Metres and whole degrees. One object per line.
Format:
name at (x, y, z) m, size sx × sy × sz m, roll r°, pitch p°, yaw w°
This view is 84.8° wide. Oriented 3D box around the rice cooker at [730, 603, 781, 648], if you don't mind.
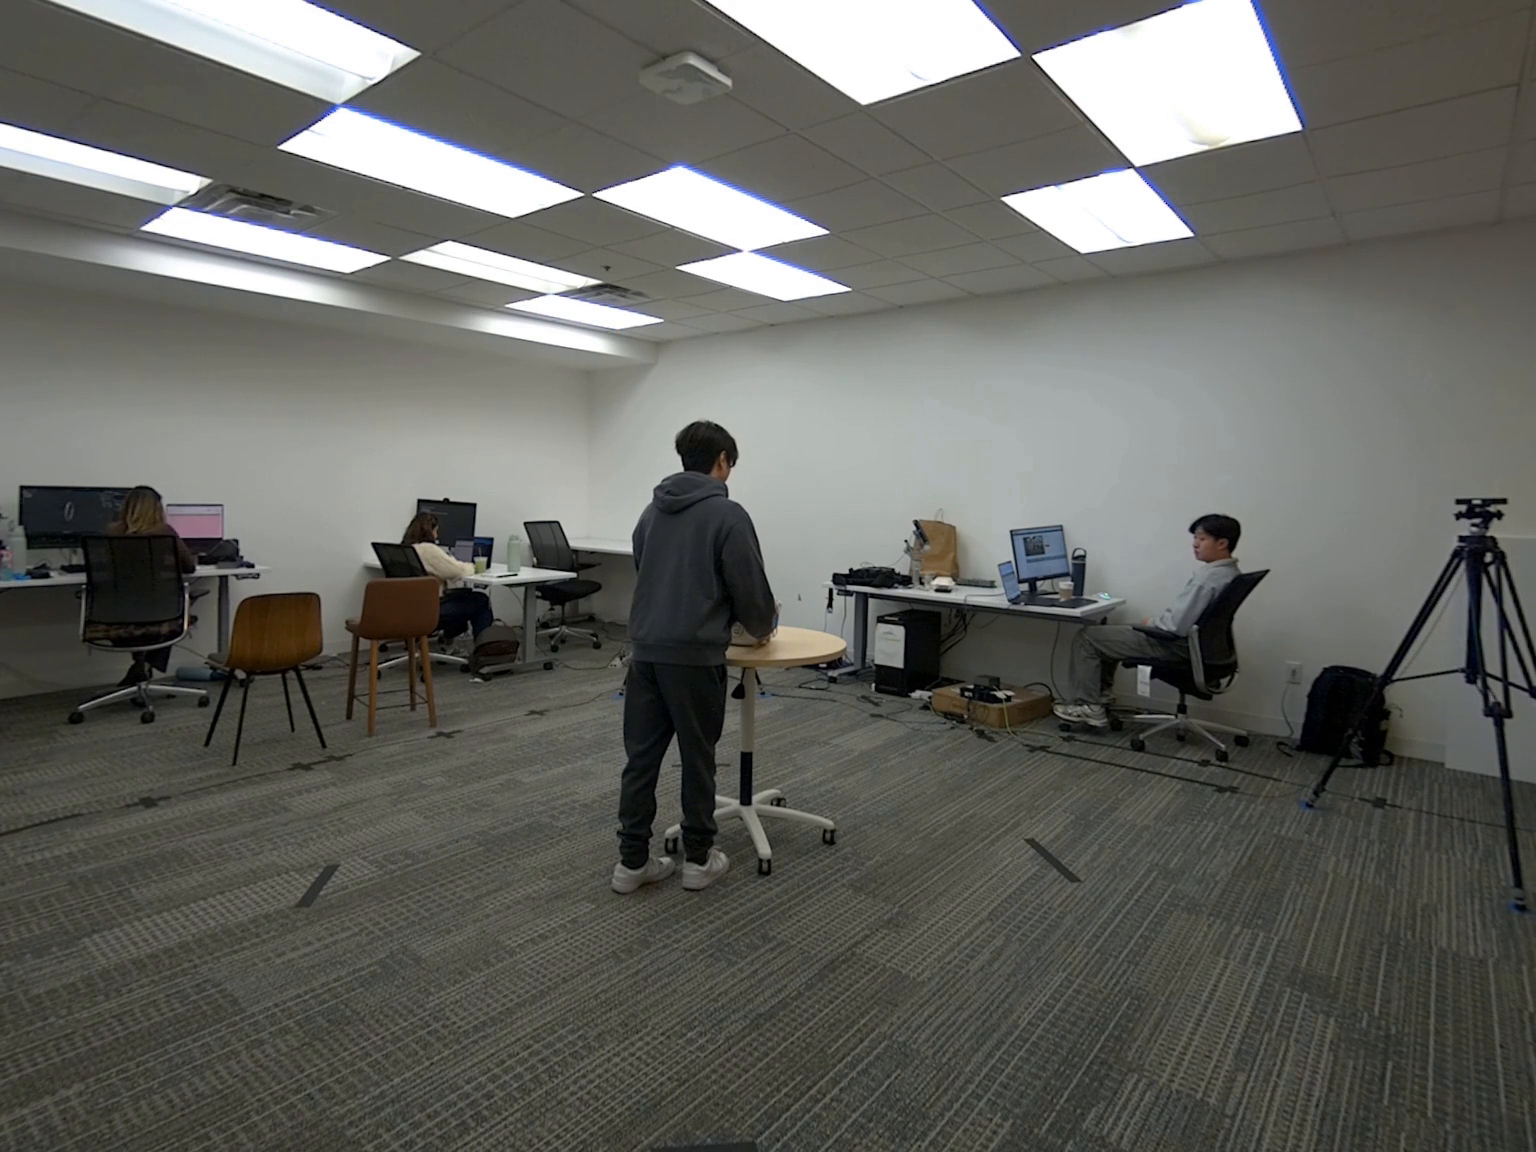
rice cooker at (-0.088, 0.142, 3.302) m, size 0.225 × 0.232 × 0.213 m, roll 3°, pitch 5°, yaw 20°
